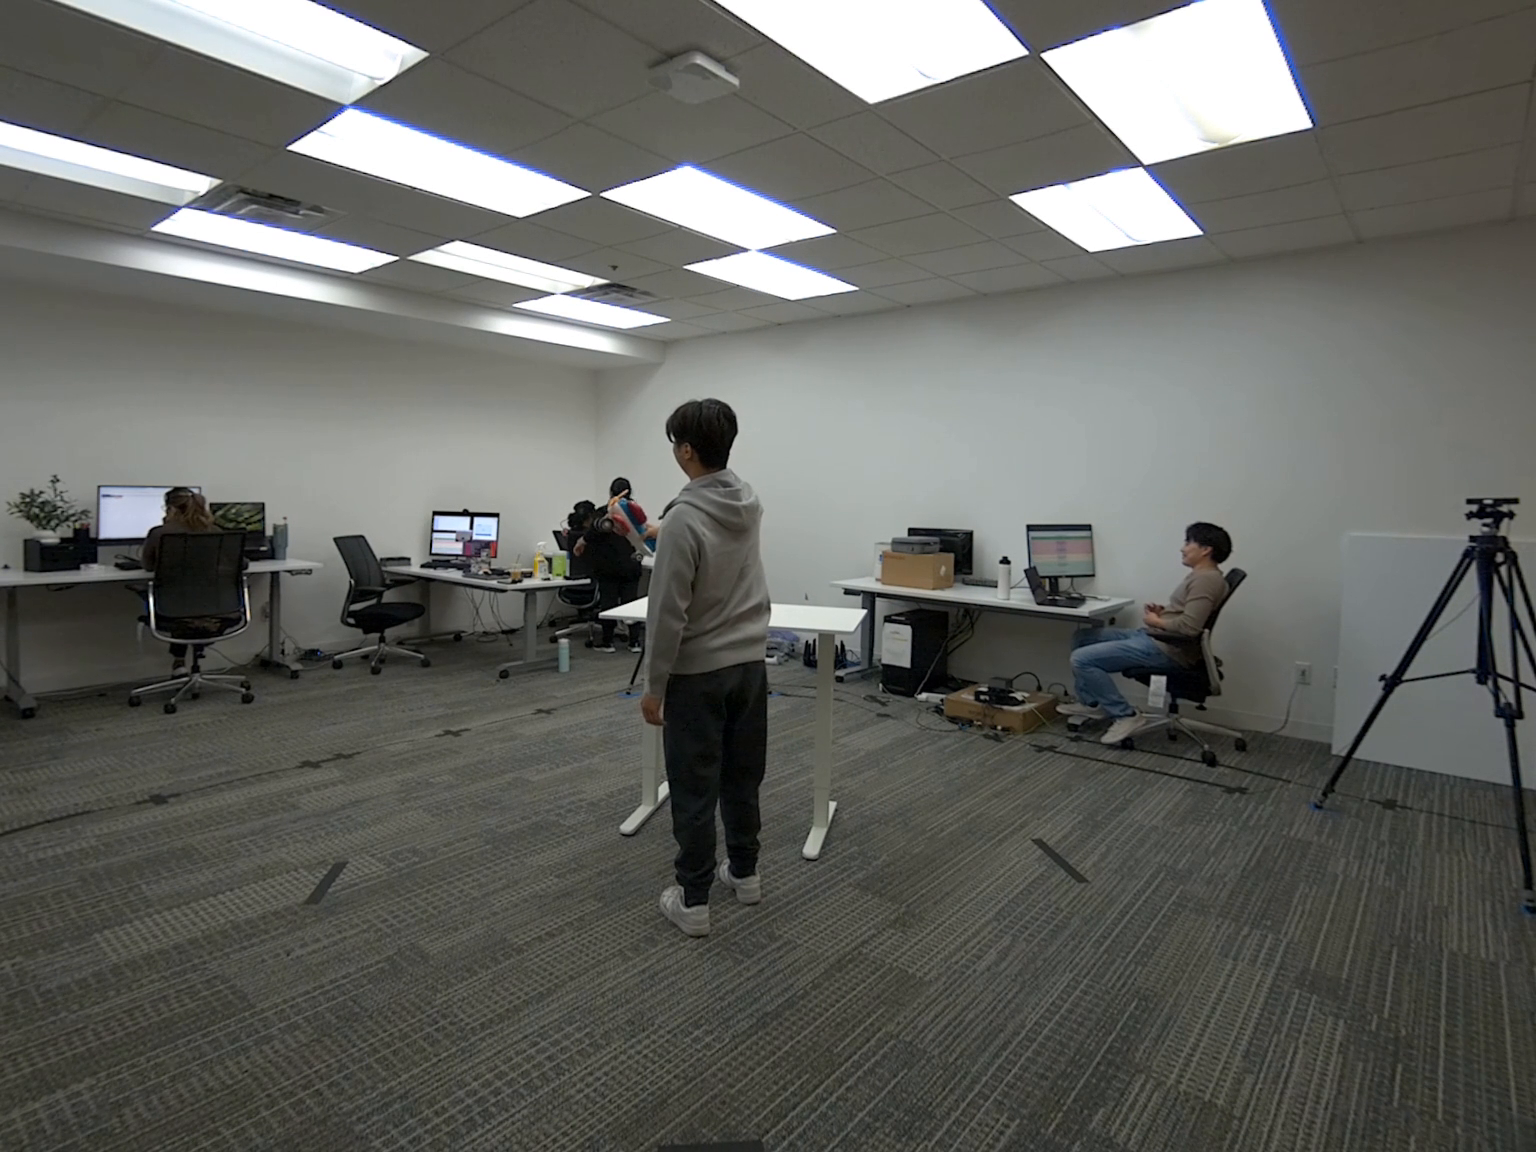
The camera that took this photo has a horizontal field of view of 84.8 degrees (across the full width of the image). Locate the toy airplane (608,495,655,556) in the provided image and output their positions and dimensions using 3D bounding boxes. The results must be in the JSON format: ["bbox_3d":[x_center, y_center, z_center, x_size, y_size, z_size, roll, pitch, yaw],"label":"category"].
[{"bbox_3d":[-0.536,-0.184,3.191,0.262,0.156,0.248,28,-16,45],"label":"toy airplane"}]
